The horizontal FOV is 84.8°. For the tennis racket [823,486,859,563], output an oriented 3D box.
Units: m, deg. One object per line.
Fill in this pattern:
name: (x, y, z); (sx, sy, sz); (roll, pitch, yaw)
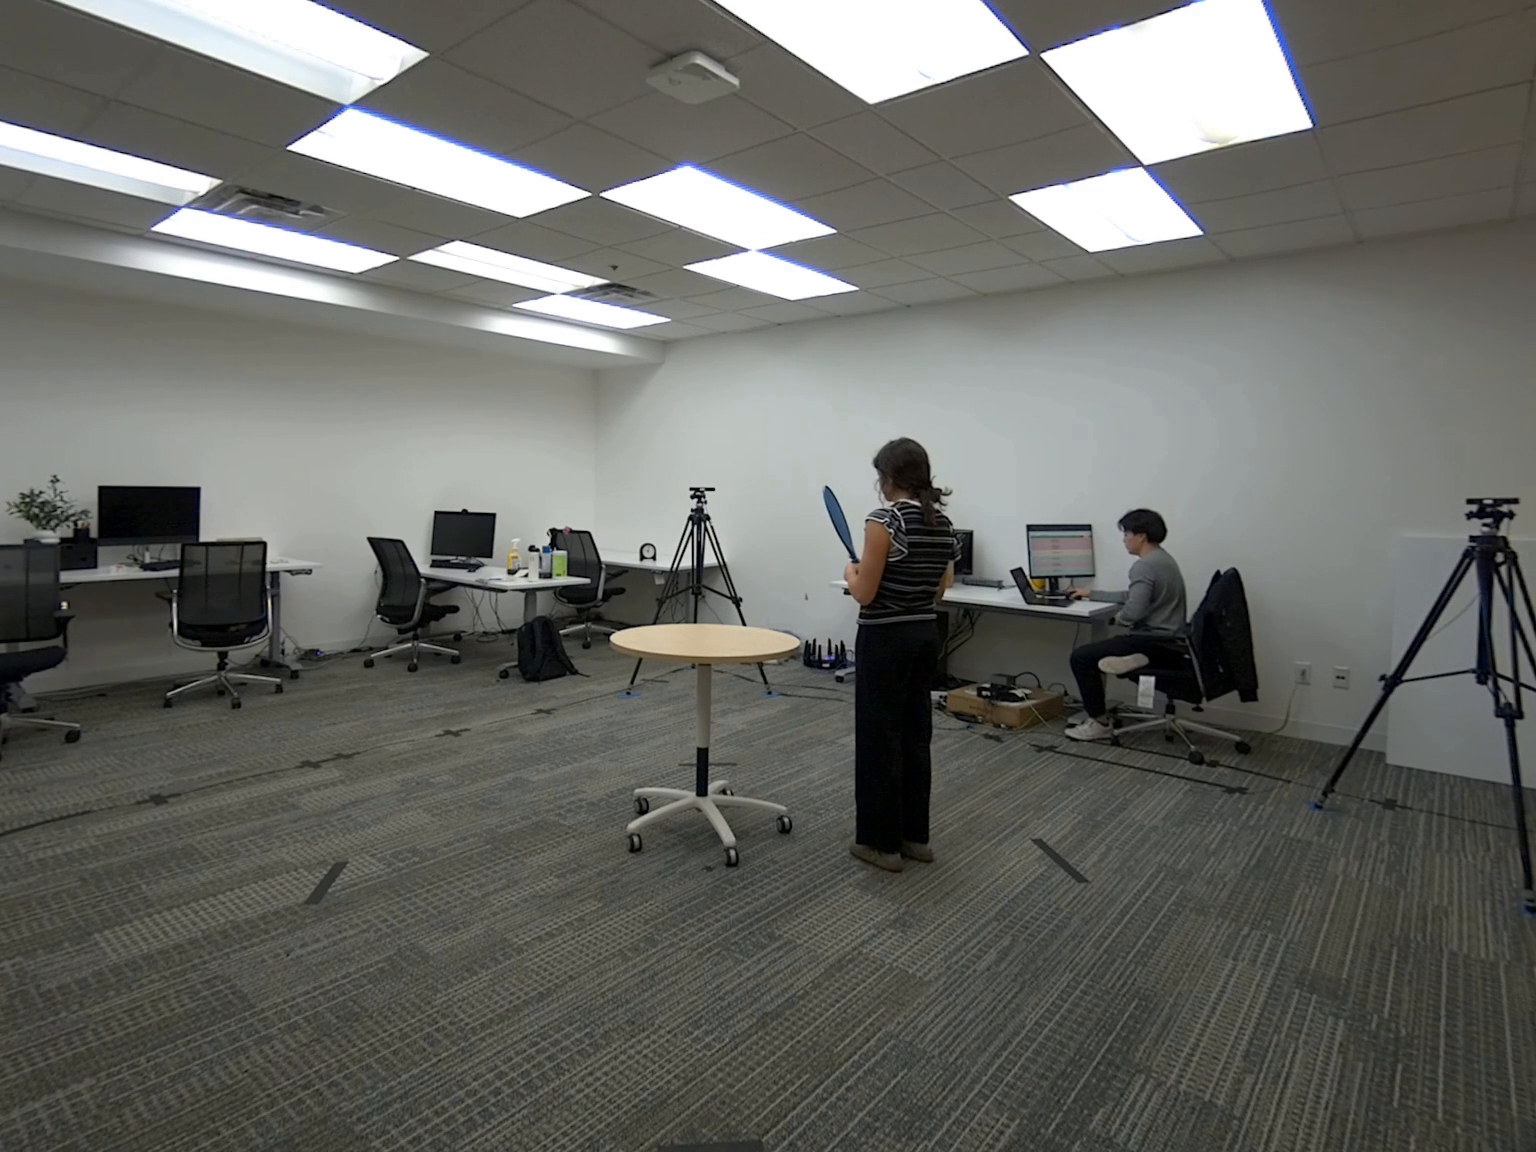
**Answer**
tennis racket: (0.308, -0.160, 3.338); (0.032, 0.437, 0.209); (-23, -8, 16)
